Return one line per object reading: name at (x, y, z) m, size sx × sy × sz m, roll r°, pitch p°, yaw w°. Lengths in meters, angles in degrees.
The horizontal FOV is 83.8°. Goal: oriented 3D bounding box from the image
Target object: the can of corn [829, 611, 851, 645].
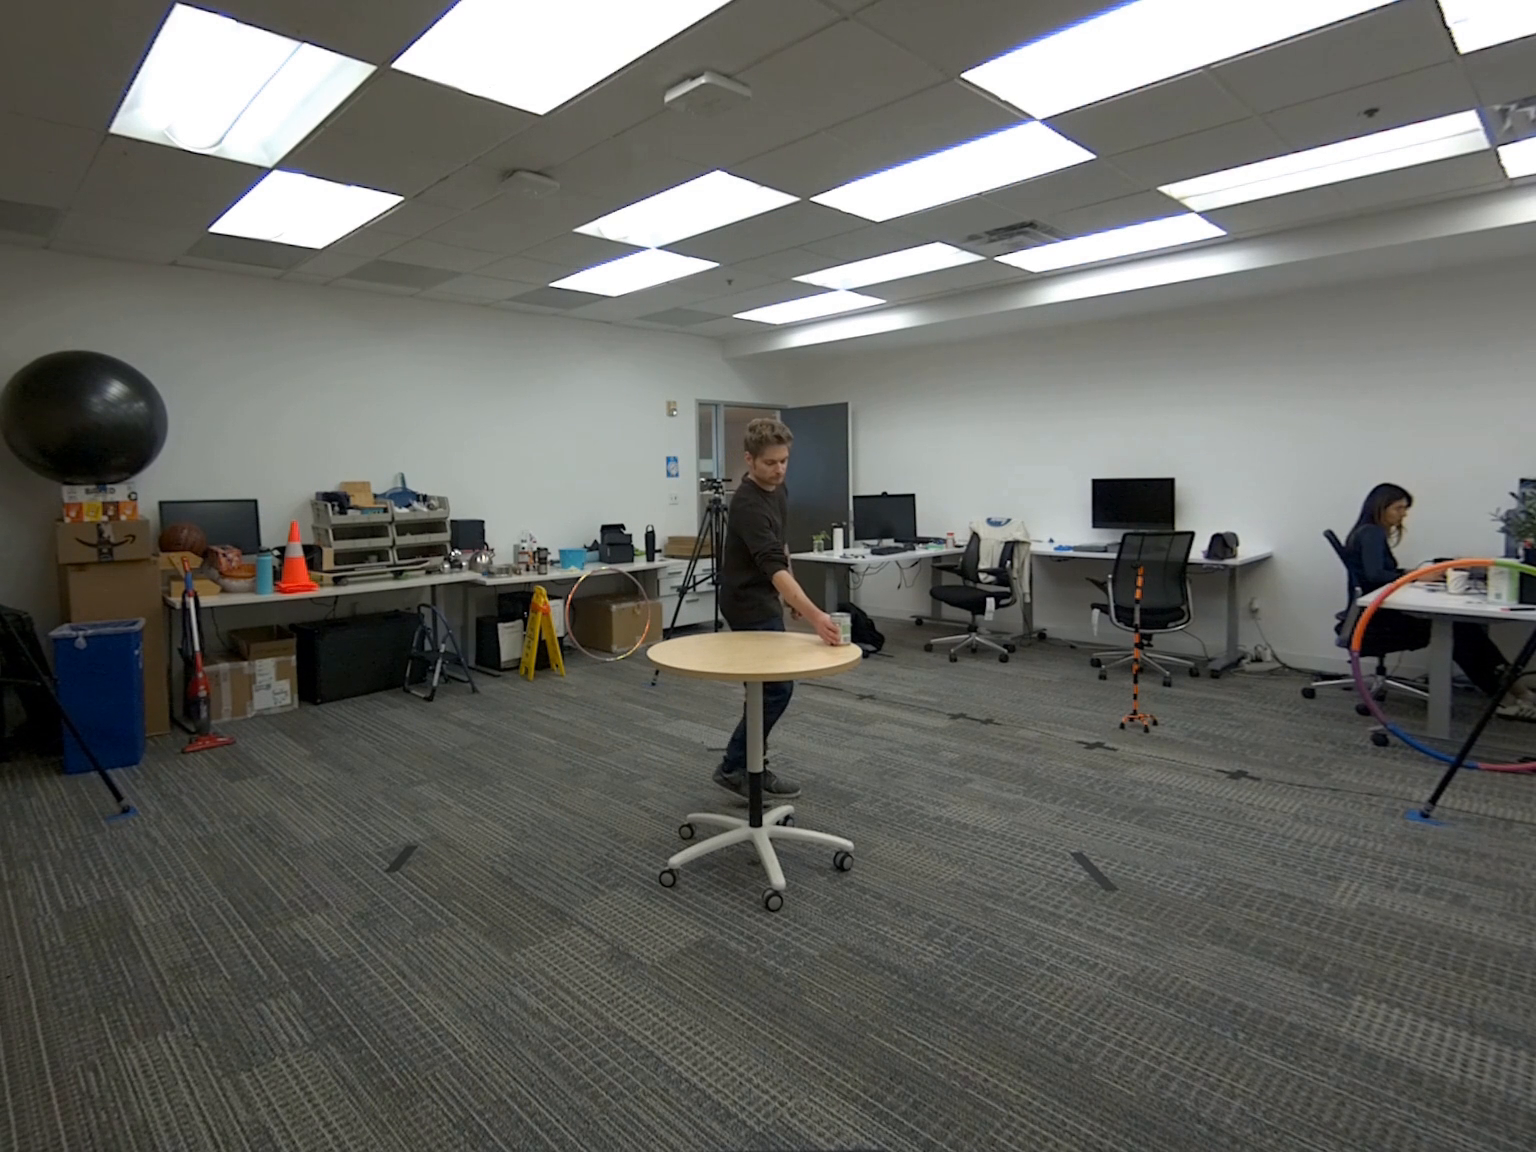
can of corn at (0.264, 0.194, 3.143) m, size 0.074 × 0.110 × 0.074 m, roll 0°, pitch 5°, yaw -2°
